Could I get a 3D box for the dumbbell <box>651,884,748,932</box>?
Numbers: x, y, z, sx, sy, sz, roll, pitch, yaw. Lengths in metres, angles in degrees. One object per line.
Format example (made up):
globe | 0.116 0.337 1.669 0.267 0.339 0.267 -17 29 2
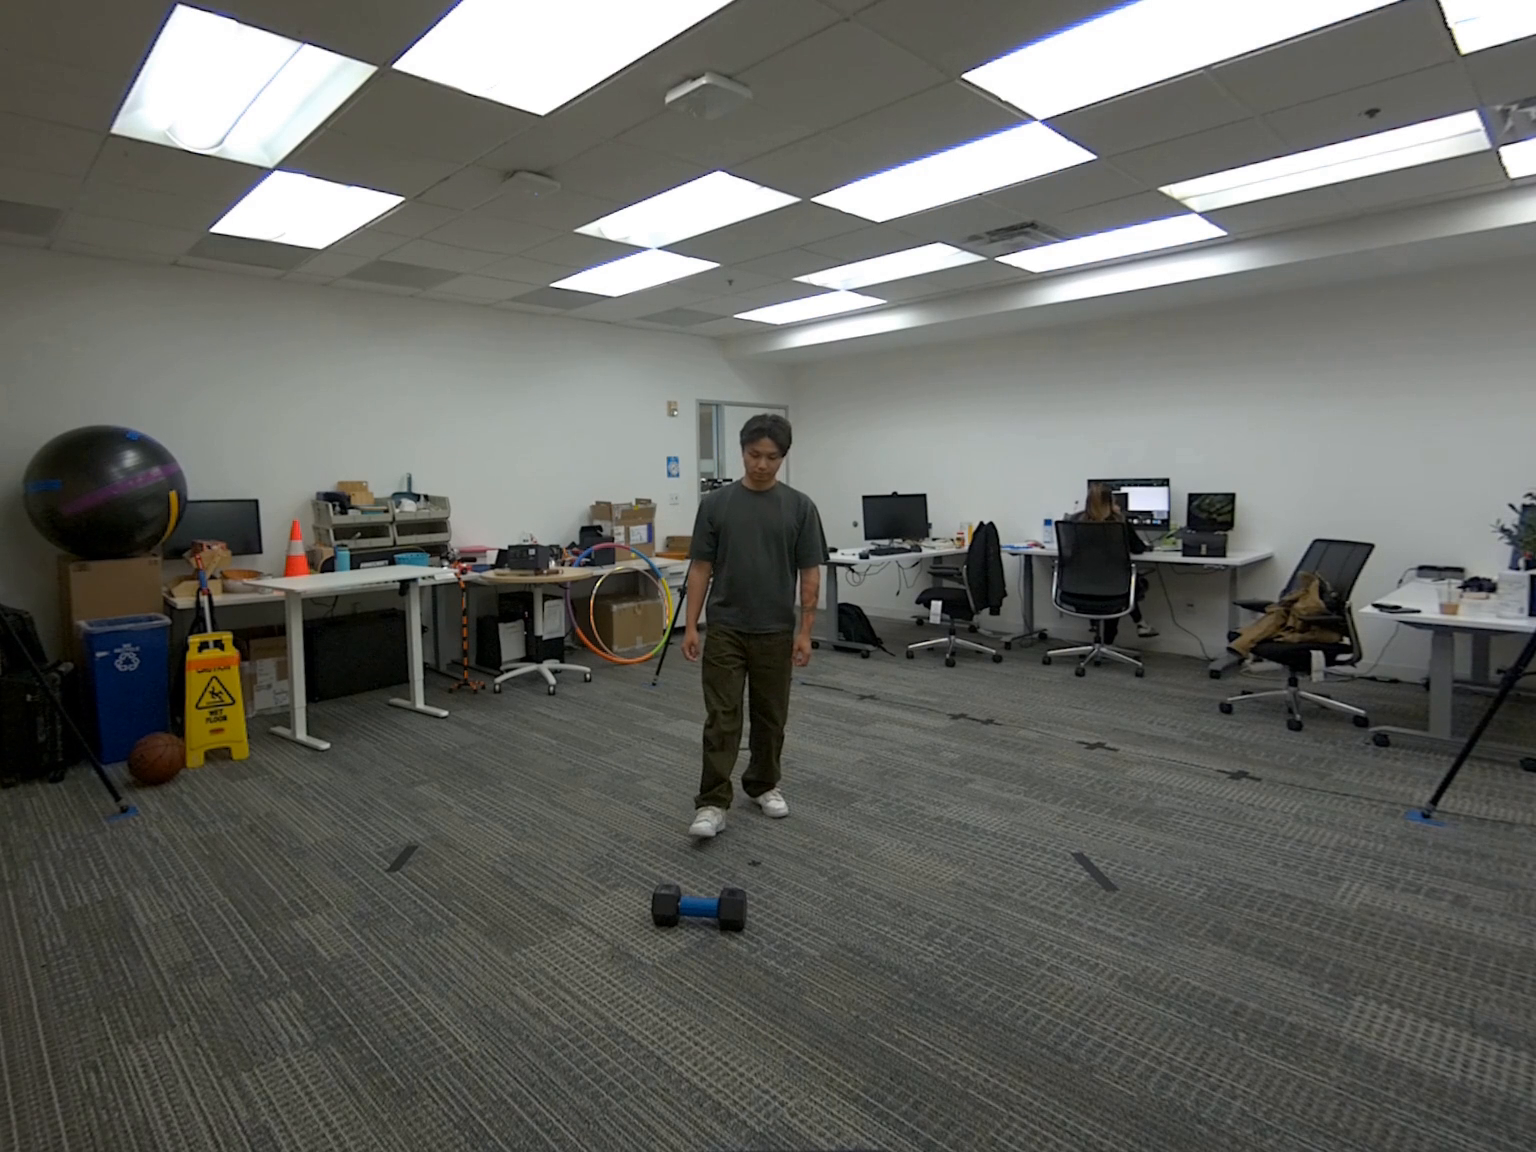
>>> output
dumbbell | -0.210 1.045 2.689 0.296 0.119 0.111 0 35 8
